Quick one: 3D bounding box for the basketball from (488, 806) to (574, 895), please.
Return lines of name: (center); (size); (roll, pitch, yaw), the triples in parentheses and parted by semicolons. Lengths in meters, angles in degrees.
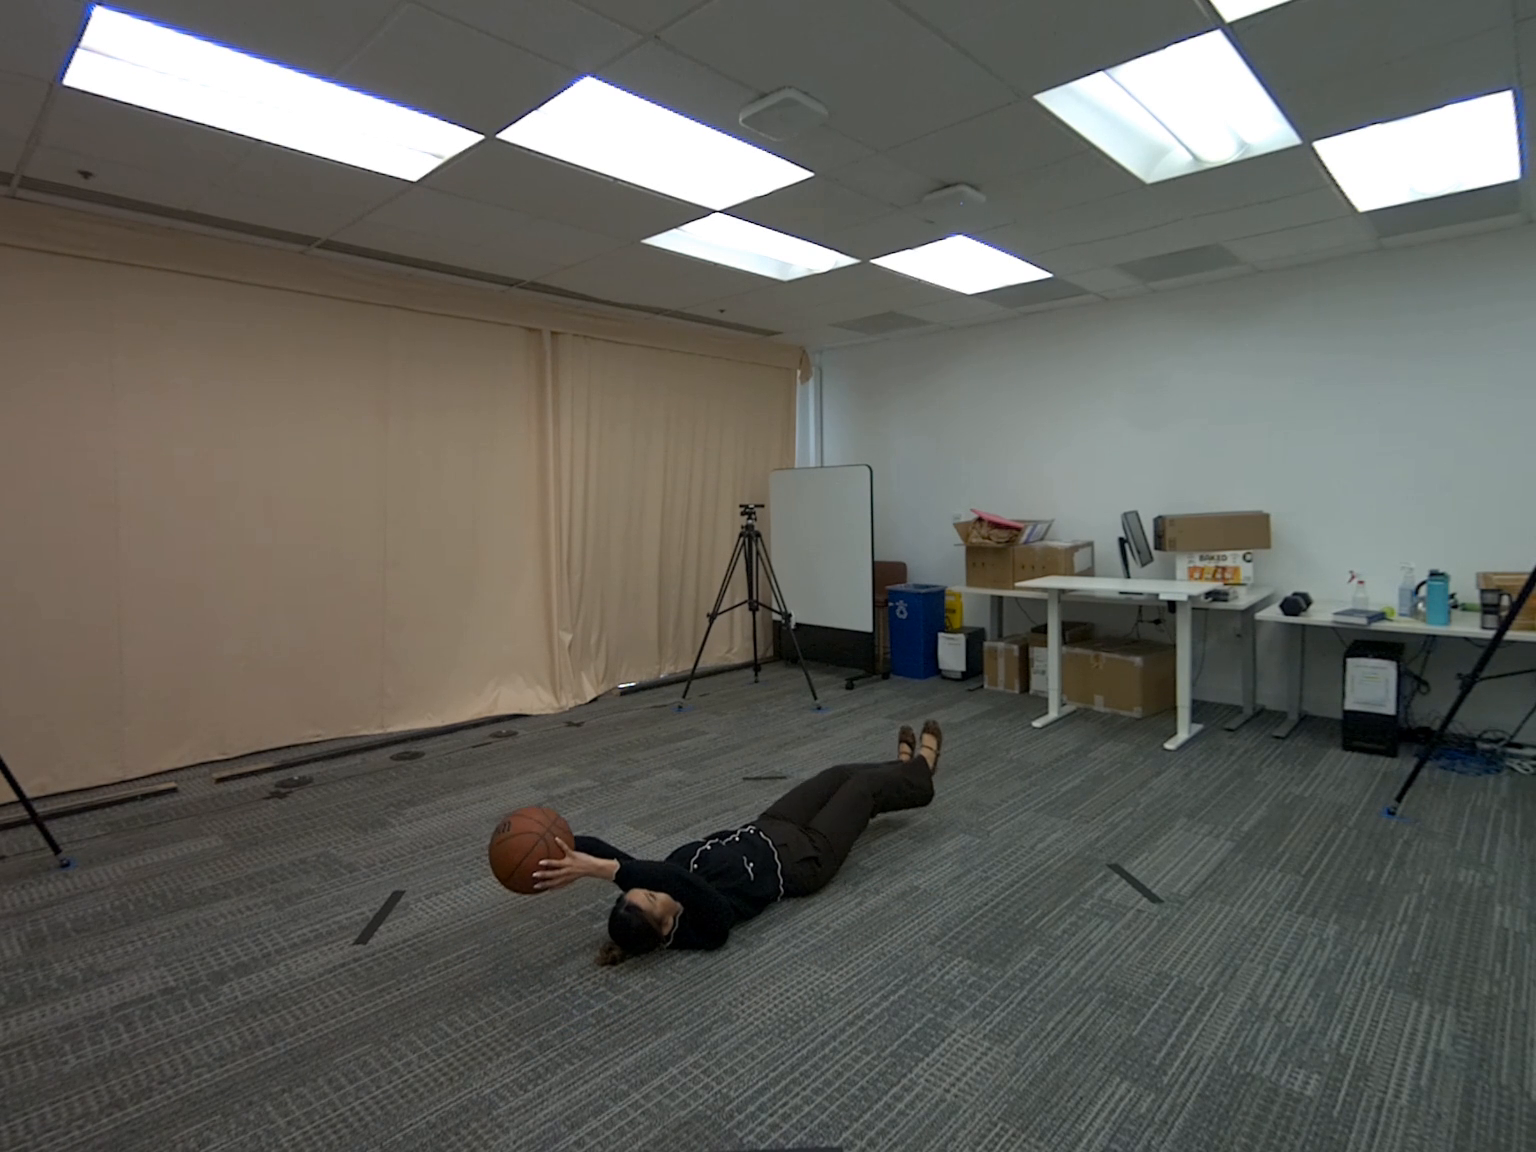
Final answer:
basketball: (-0.658, 0.766, 2.359); (0.236, 0.235, 0.237); (-1, 4, -2)
